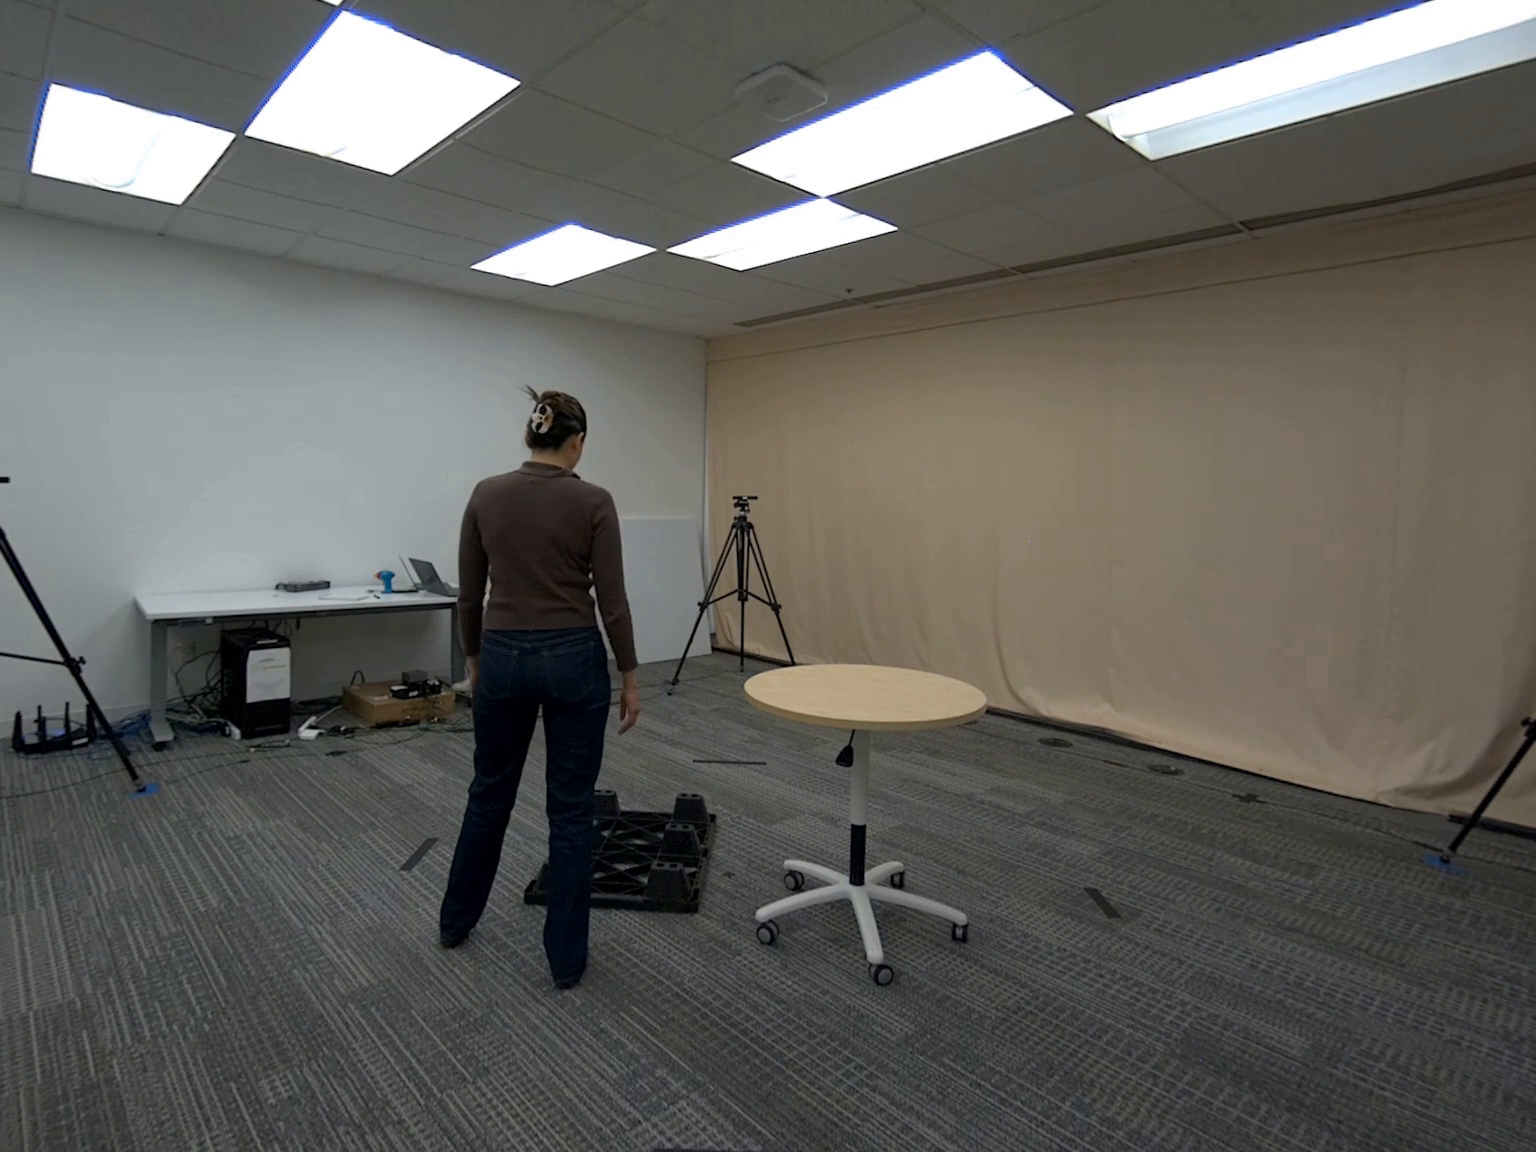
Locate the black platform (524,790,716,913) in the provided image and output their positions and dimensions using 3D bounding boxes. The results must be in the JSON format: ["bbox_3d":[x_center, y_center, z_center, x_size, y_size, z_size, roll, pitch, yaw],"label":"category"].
[{"bbox_3d":[-0.532,1.018,3.223,0.606,0.143,0.806,2,5,1],"label":"black platform"}]
